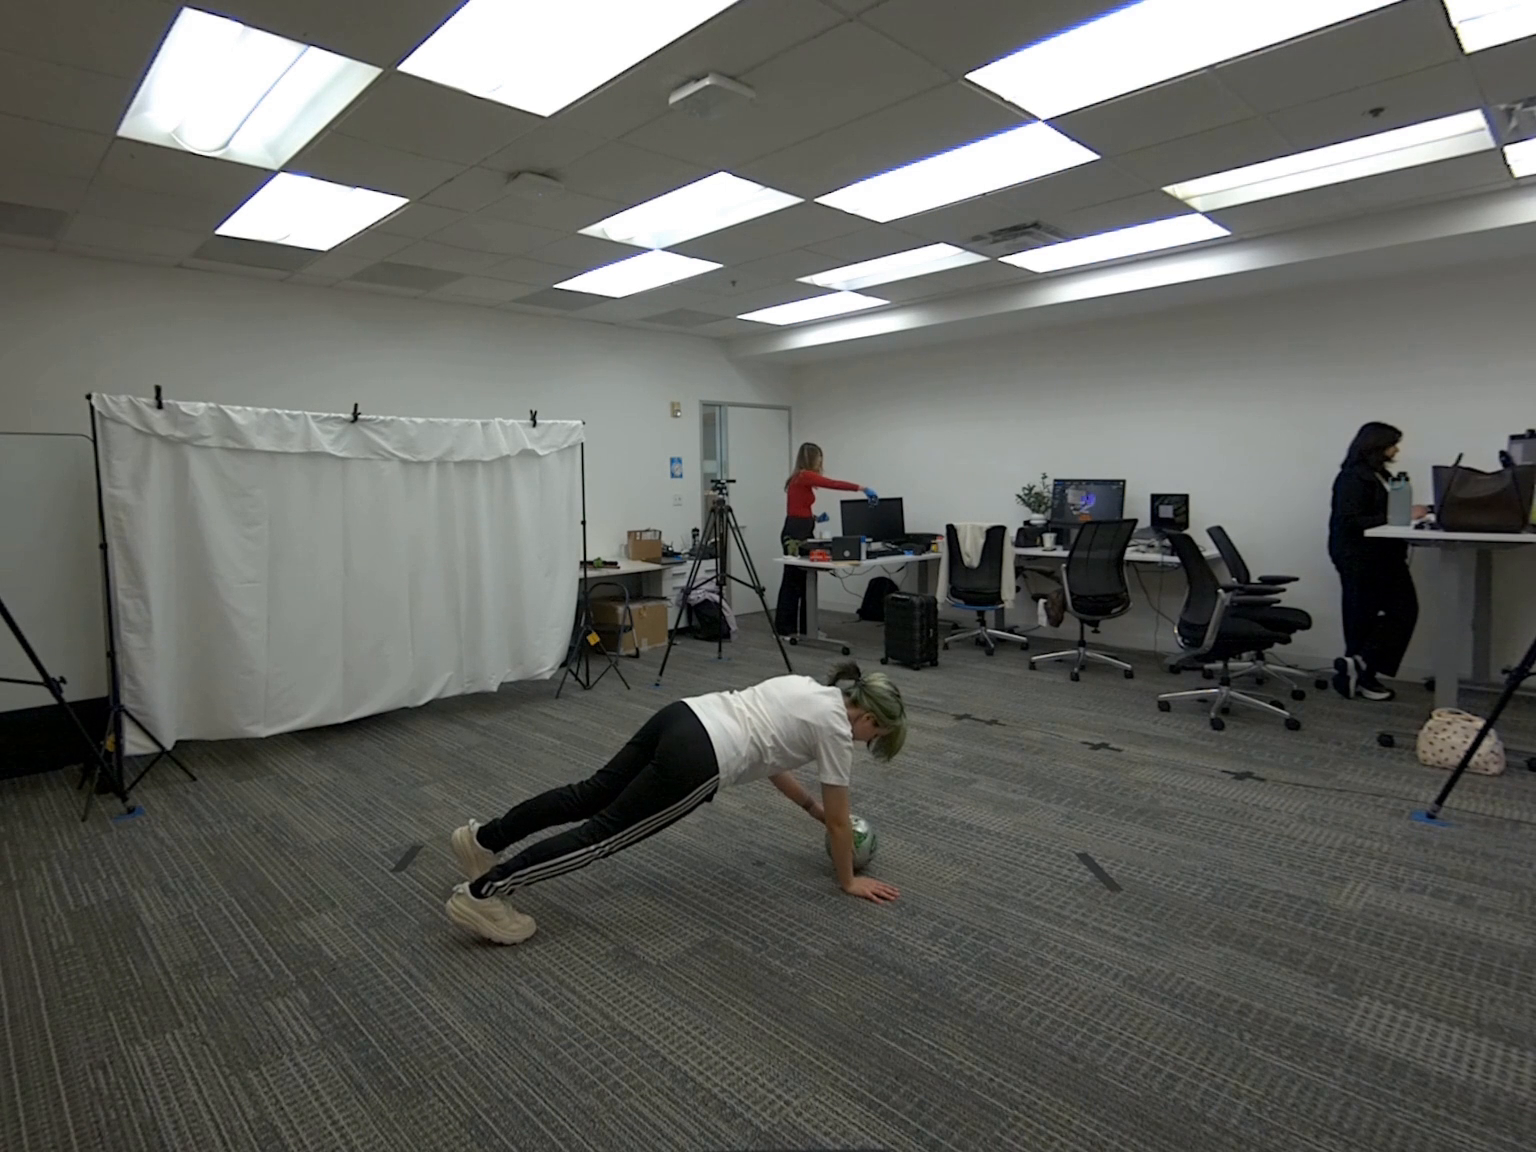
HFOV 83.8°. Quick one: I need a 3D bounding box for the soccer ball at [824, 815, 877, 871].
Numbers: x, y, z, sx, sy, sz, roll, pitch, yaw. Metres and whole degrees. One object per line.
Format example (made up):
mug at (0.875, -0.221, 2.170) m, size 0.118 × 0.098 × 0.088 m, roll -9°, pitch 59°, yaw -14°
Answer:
soccer ball at (0.300, 0.955, 3.063) m, size 0.187 × 0.187 × 0.188 m, roll -1°, pitch 5°, yaw -2°
